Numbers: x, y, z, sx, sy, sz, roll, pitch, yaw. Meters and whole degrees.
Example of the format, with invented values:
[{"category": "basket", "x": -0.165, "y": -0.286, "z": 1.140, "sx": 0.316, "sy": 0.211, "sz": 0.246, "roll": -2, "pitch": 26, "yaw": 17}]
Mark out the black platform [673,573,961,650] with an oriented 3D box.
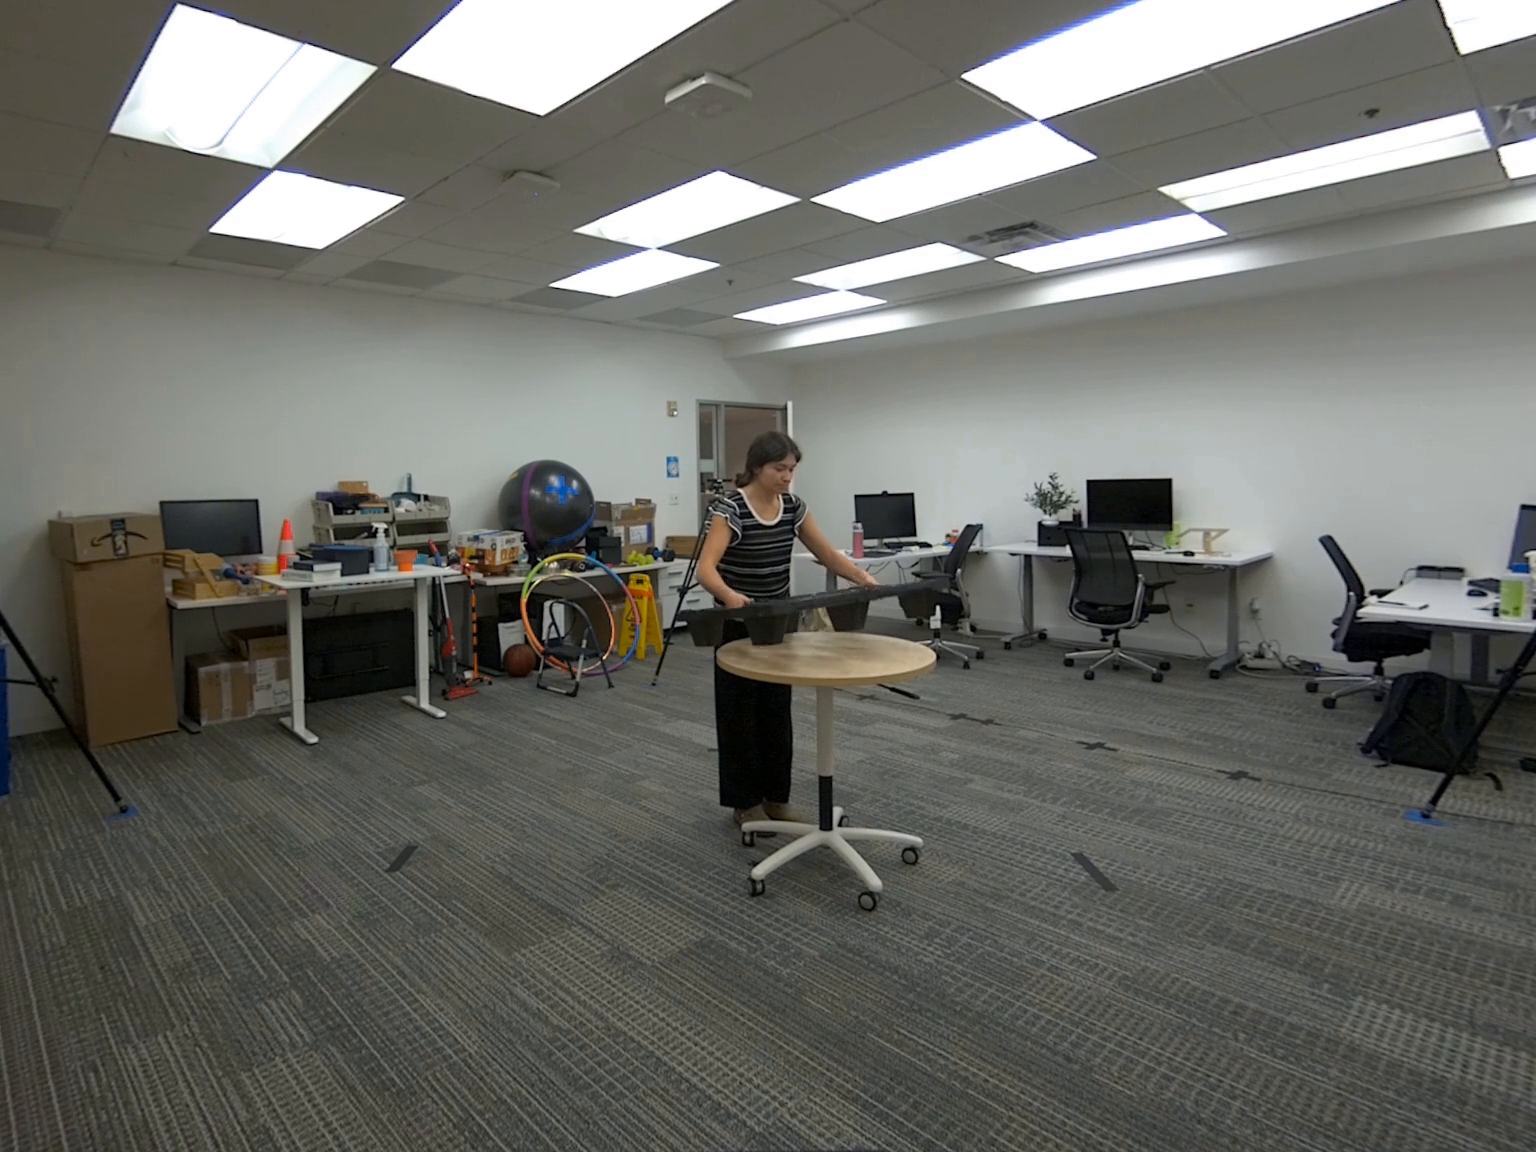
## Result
[{"category": "black platform", "x": 0.165, "y": 0.126, "z": 3.055, "sx": 0.787, "sy": 0.143, "sz": 0.618, "roll": -7, "pitch": 0, "yaw": -33}]
